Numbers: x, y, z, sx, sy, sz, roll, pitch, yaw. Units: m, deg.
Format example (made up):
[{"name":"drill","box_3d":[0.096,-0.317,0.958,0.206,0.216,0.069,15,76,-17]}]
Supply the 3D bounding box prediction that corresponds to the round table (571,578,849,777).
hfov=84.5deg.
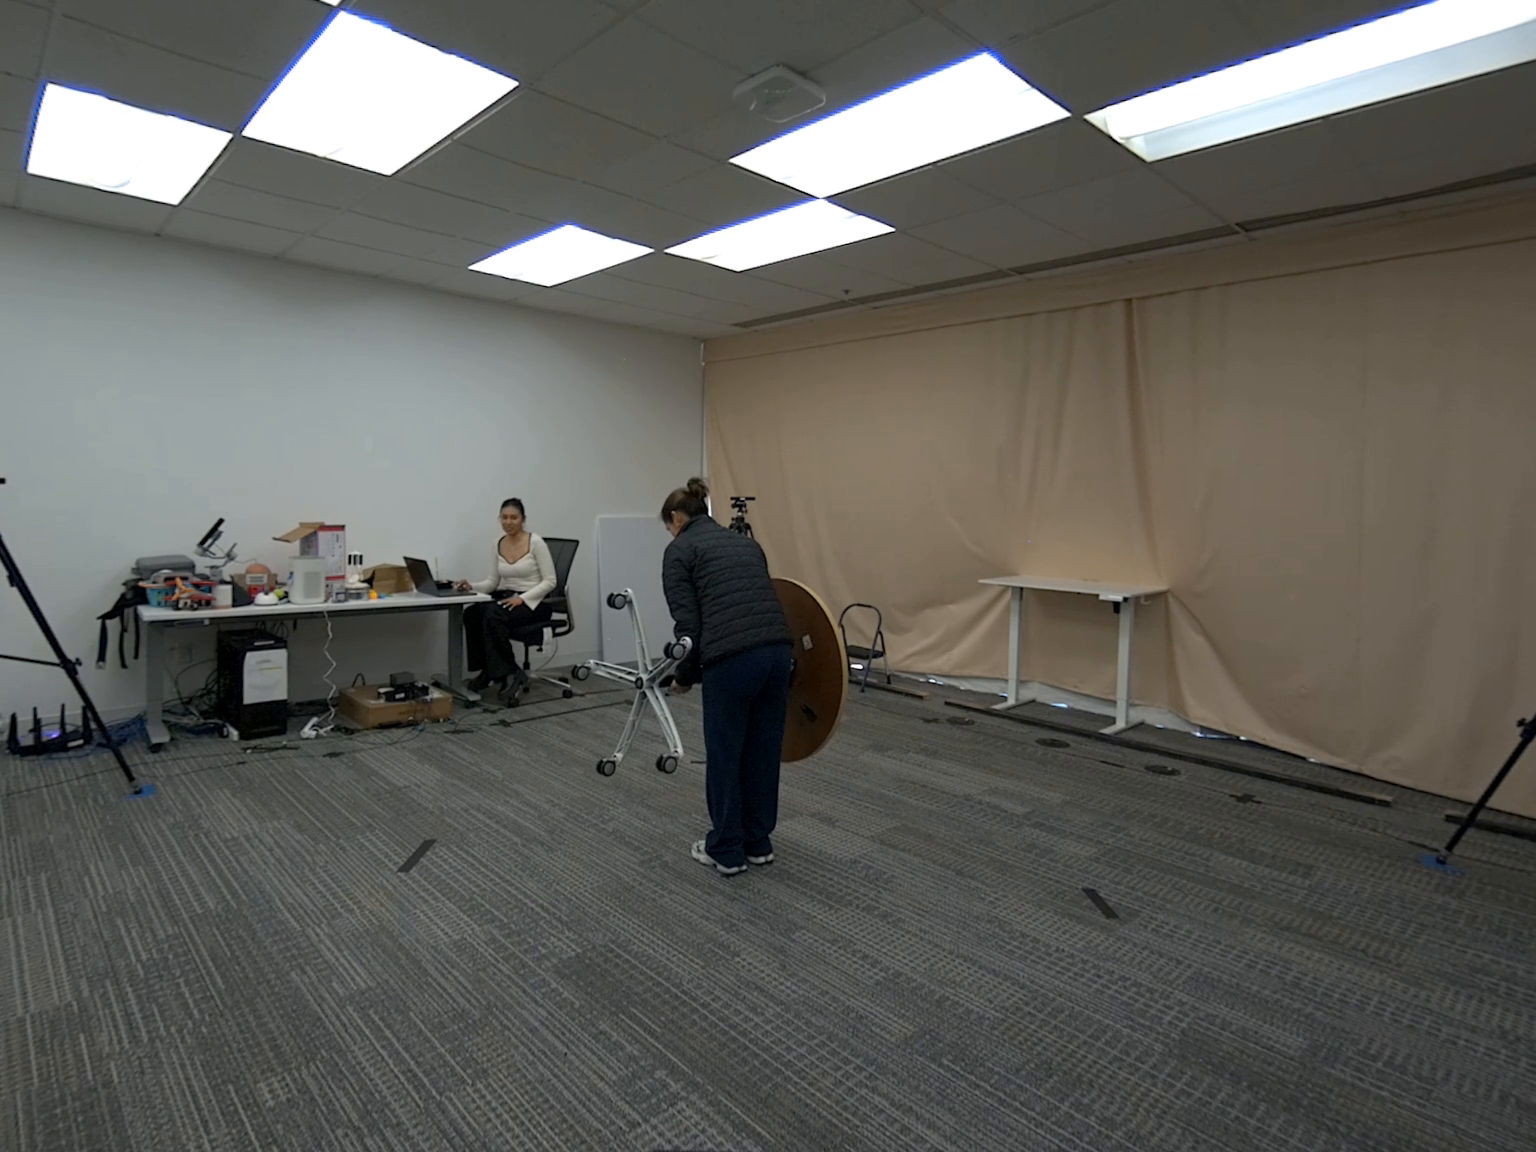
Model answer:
[{"name":"round table","box_3d":[-0.239,0.408,3.264,0.768,0.784,0.805,0,4,-43]}]
